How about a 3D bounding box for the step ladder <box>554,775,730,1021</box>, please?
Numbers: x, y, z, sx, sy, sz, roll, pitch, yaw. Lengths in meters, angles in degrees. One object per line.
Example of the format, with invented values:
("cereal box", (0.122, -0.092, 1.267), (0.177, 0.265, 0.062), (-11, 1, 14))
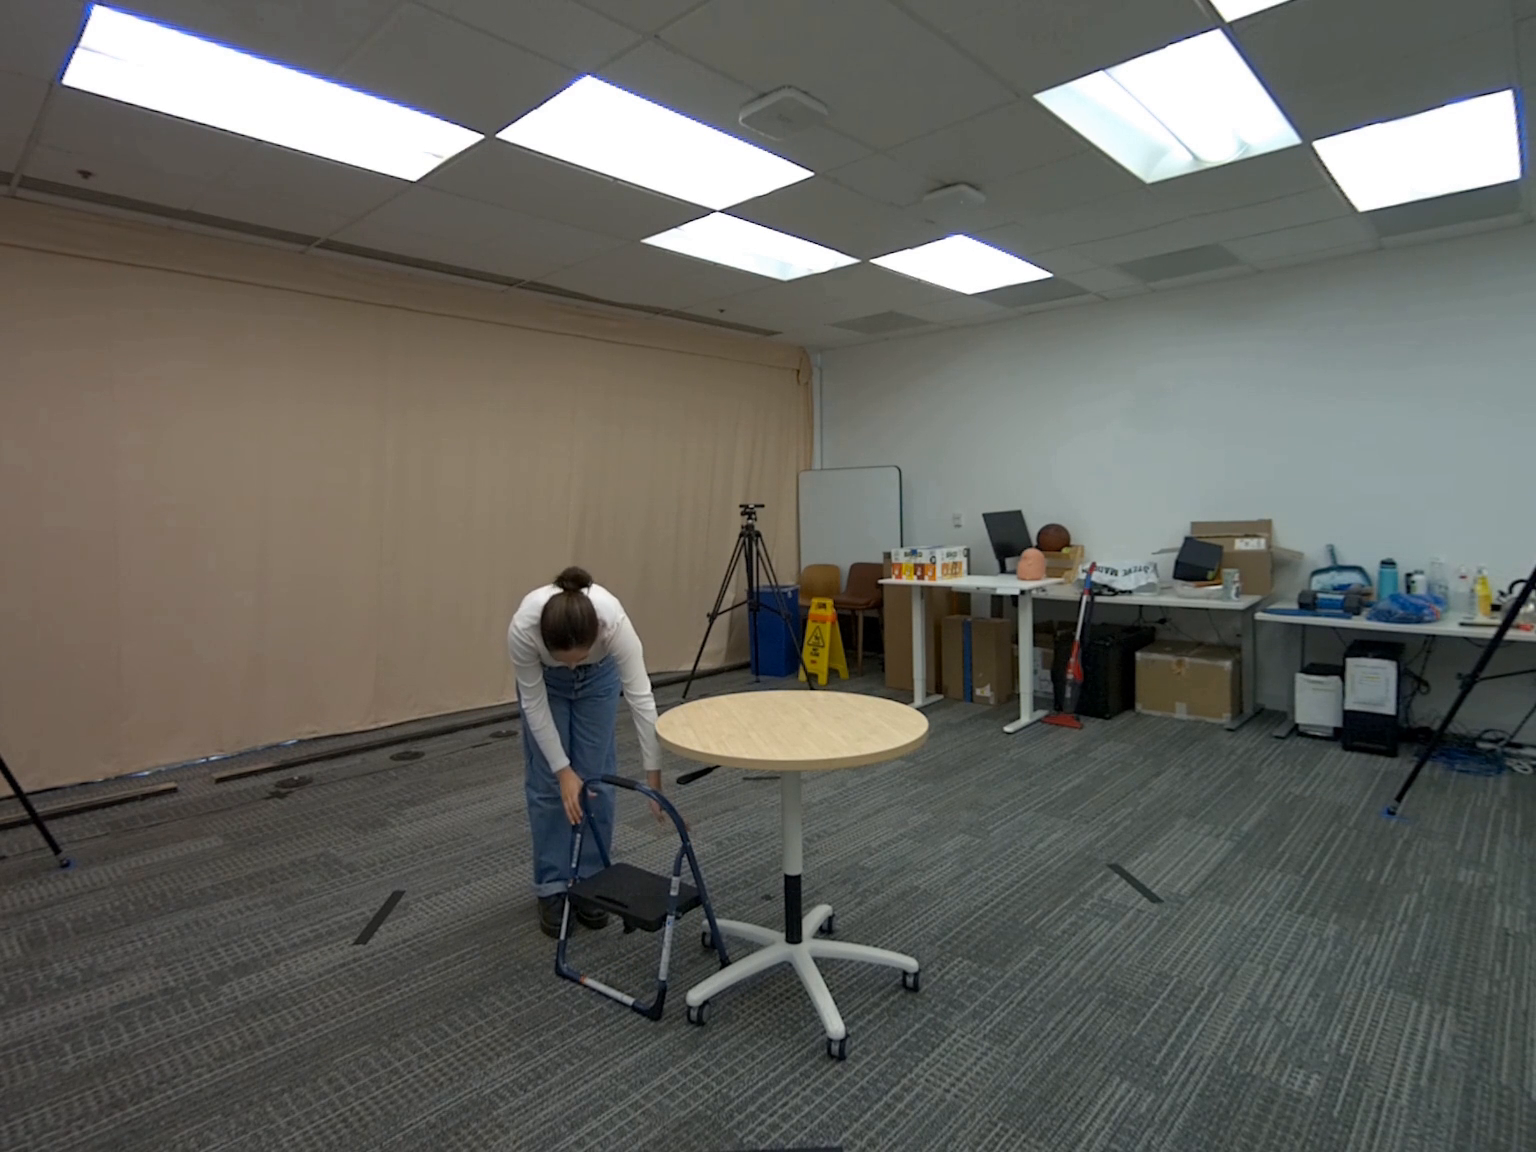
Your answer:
("step ladder", (-0.384, 0.881, 2.517), (0.444, 0.605, 0.339), (2, 4, 35))
